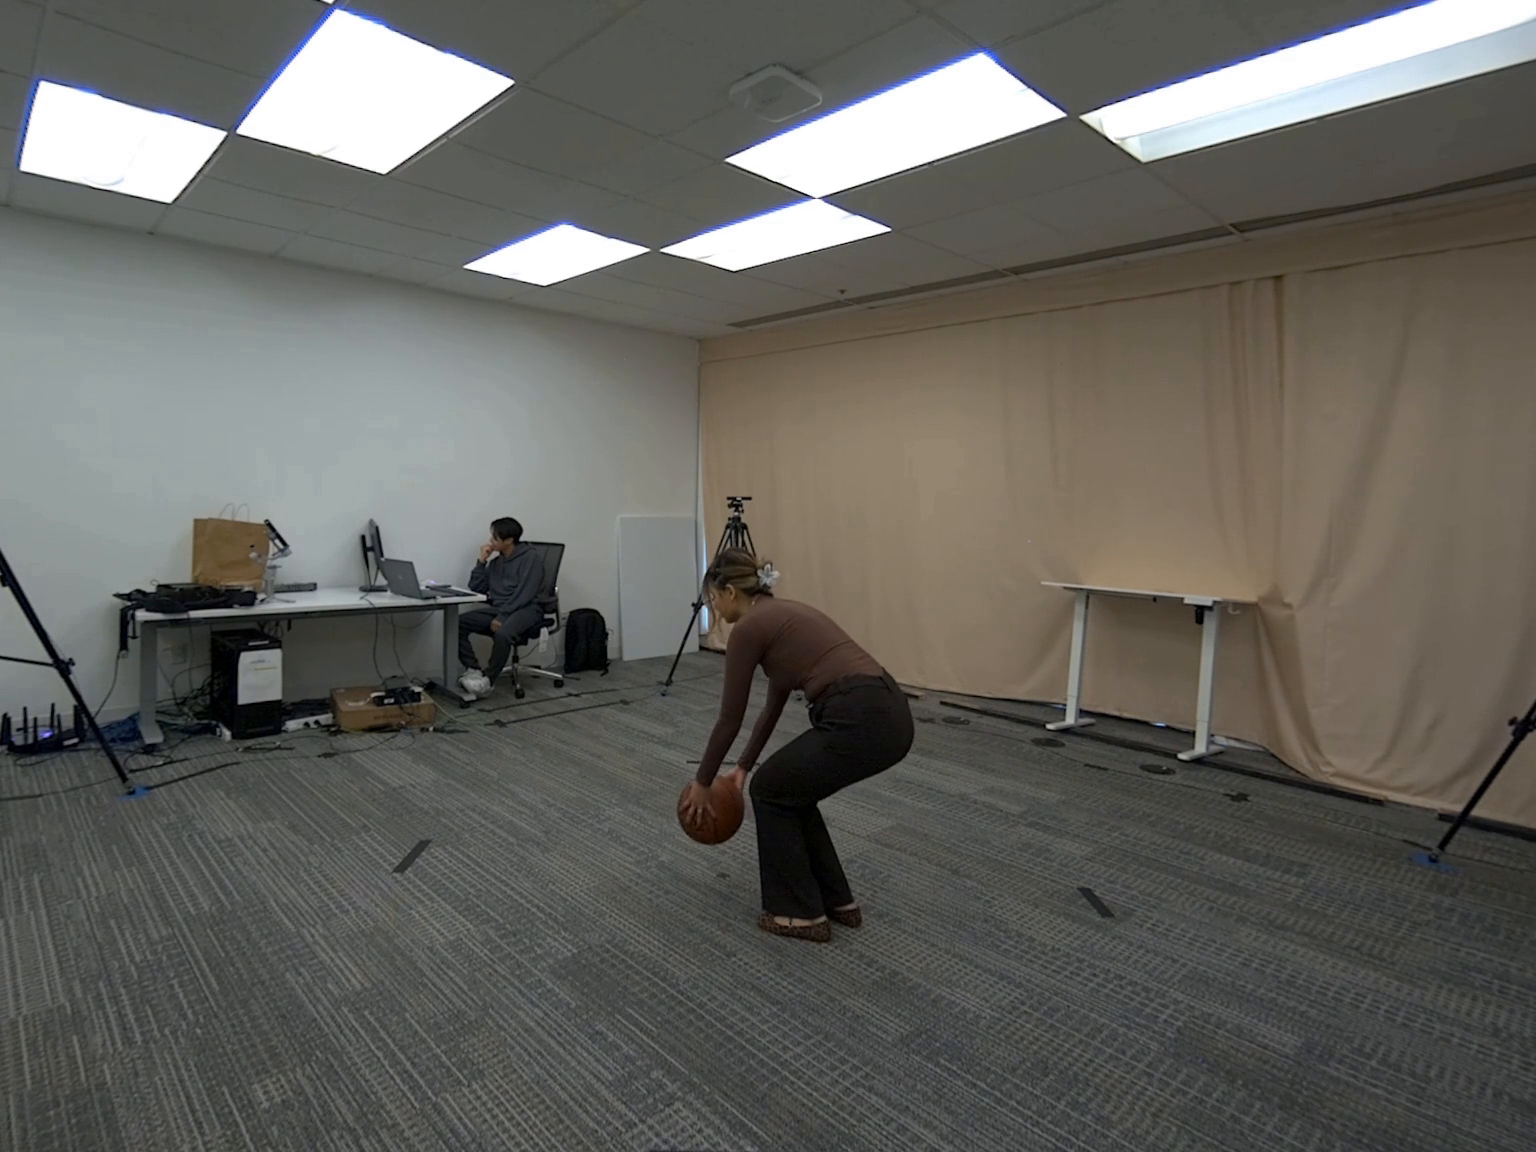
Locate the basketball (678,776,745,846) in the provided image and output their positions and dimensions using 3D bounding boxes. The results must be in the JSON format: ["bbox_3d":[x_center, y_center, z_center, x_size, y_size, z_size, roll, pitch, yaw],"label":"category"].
[{"bbox_3d":[-0.204,0.812,2.972,0.236,0.235,0.237,1,4,-1],"label":"basketball"}]
